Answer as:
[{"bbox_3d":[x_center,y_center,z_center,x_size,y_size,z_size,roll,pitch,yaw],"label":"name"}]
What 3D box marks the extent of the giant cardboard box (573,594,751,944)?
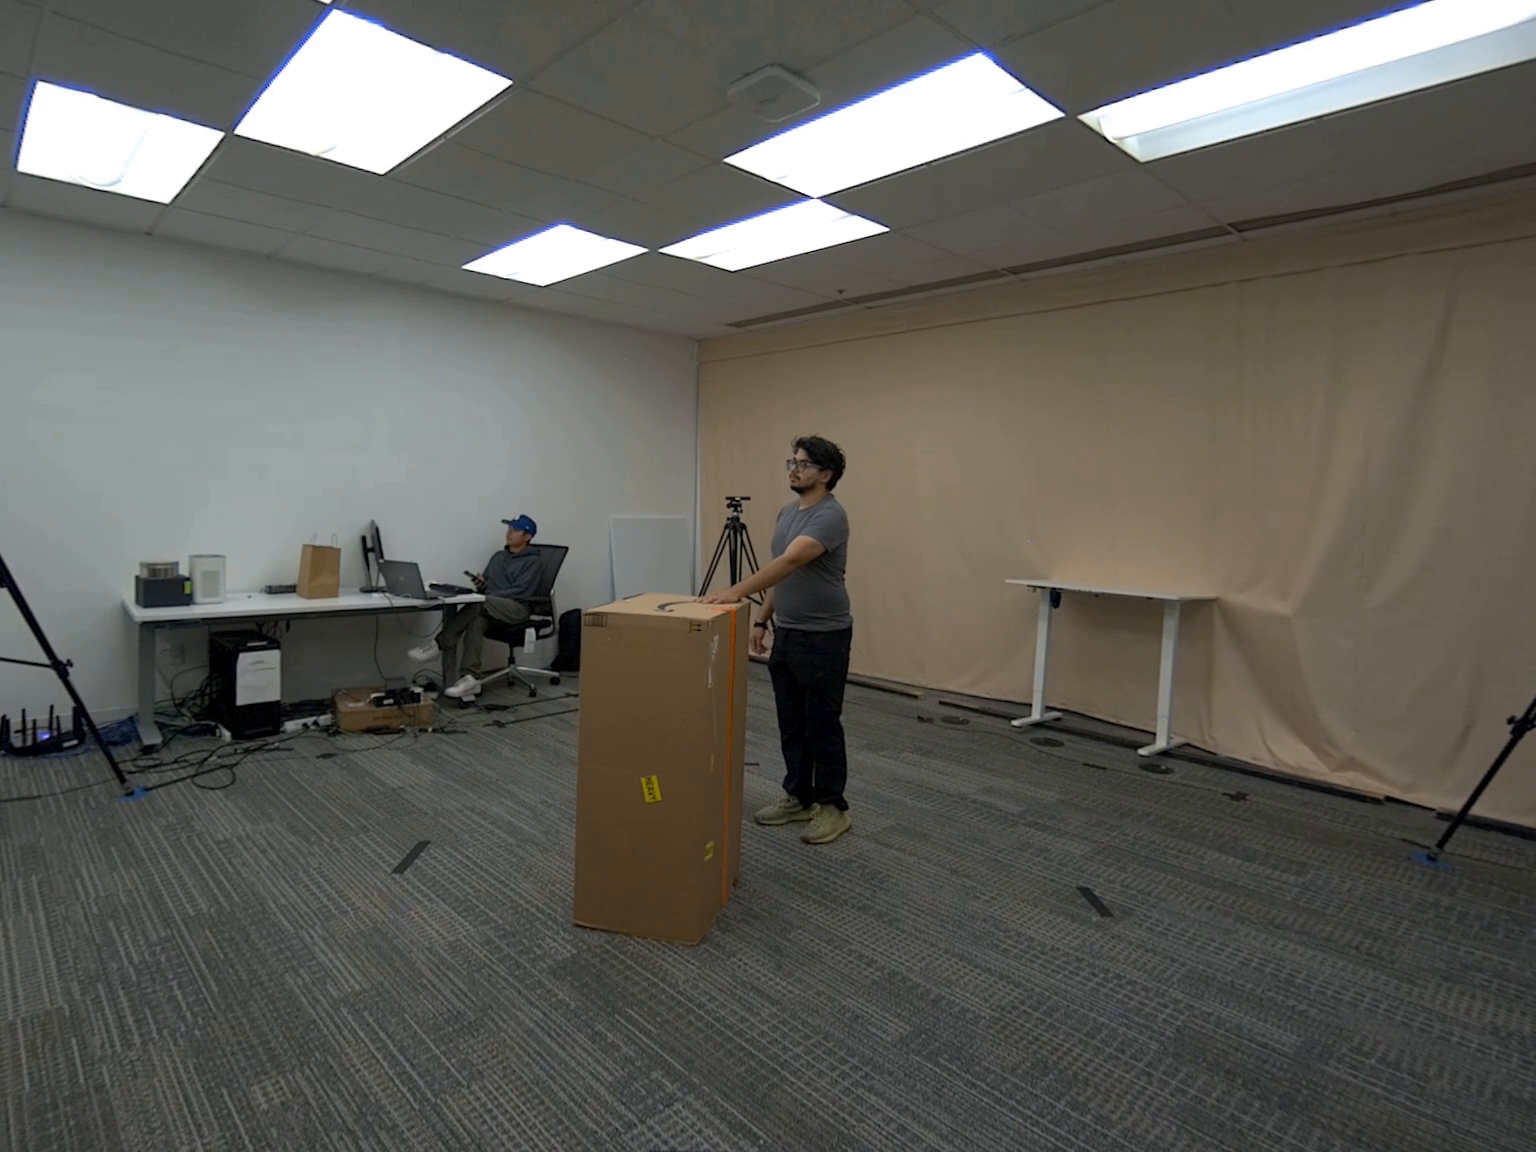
[{"bbox_3d":[-0.348,0.610,2.910,0.431,1.024,0.572,3,3,13],"label":"giant cardboard box"}]
